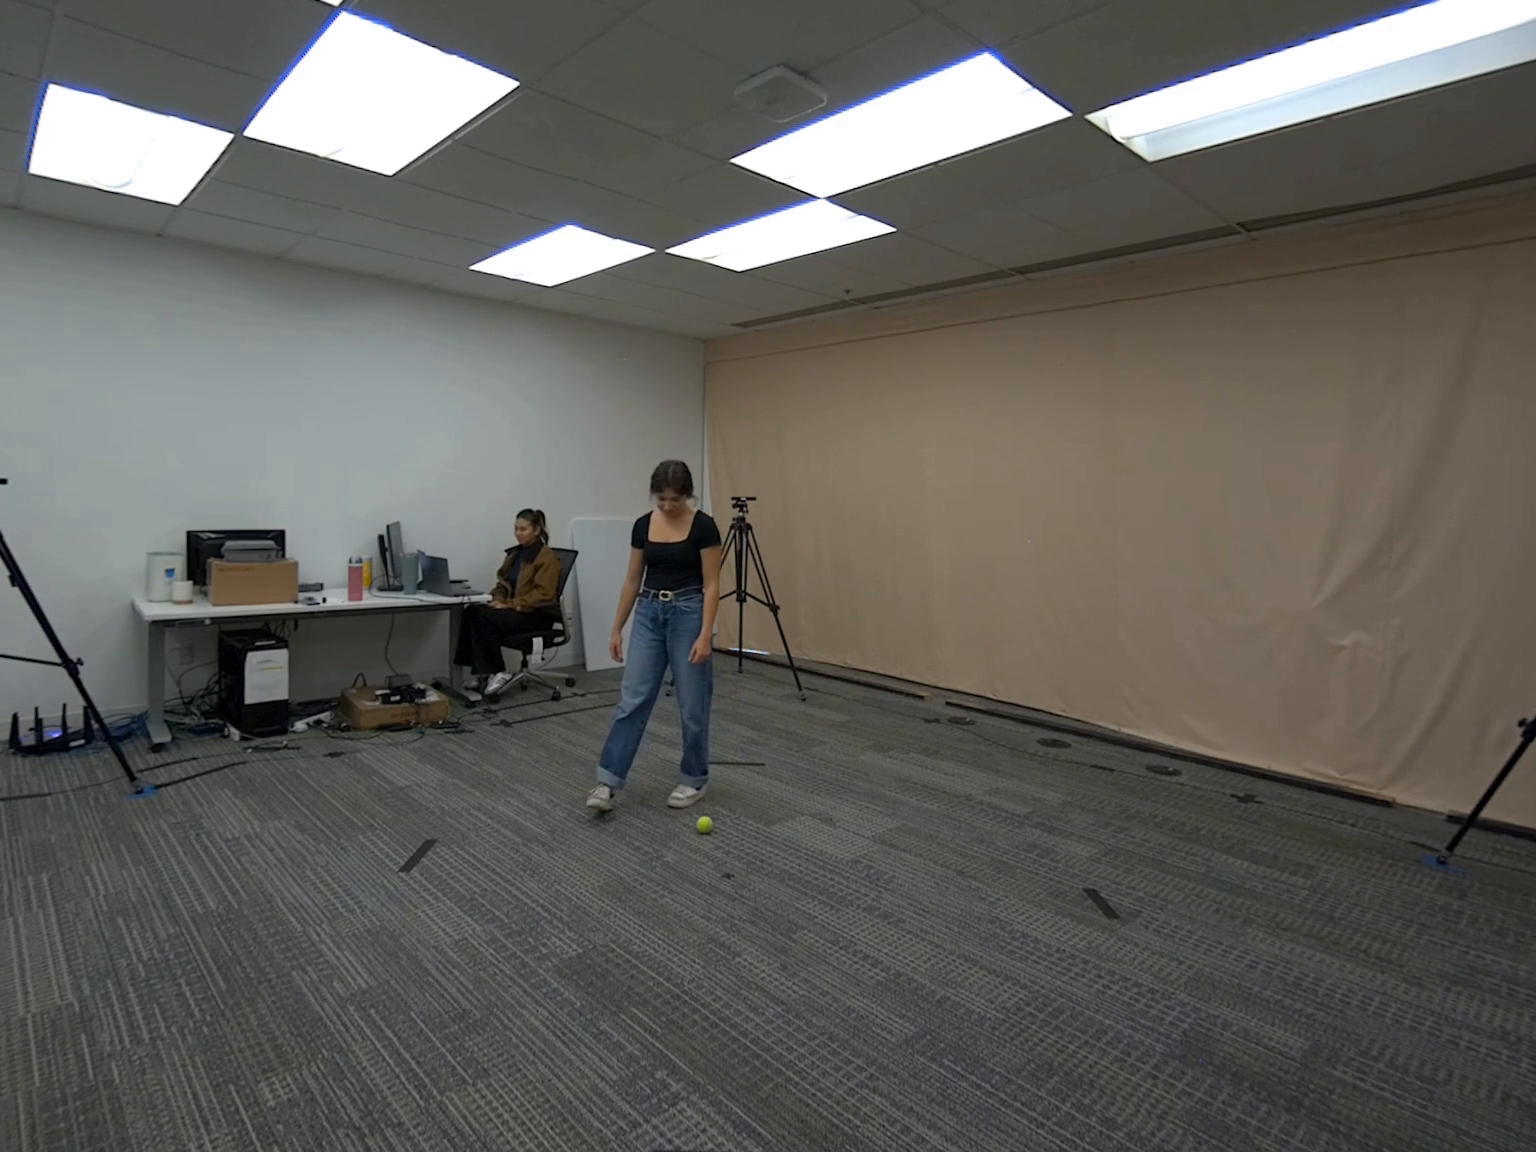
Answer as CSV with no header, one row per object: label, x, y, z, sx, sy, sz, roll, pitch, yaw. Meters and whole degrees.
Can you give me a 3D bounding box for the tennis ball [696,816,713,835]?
tennis ball,-0.277,1.021,3.507,0.066,0.066,0.067,1,4,-1
